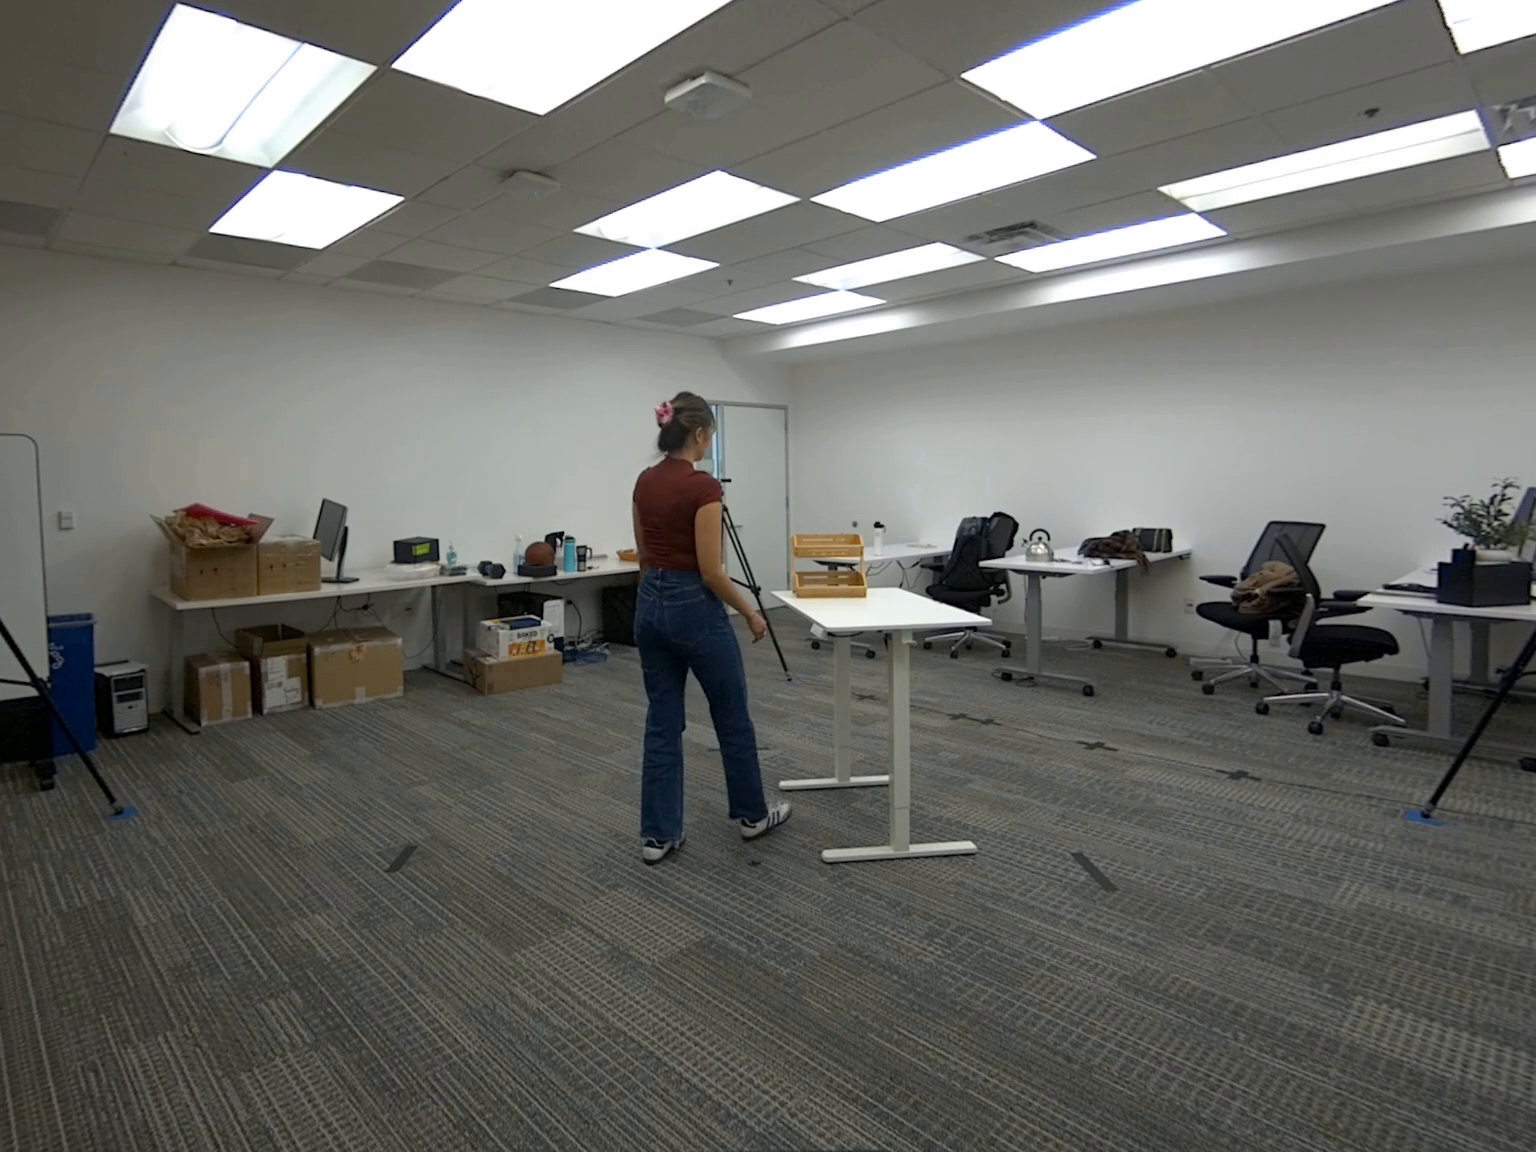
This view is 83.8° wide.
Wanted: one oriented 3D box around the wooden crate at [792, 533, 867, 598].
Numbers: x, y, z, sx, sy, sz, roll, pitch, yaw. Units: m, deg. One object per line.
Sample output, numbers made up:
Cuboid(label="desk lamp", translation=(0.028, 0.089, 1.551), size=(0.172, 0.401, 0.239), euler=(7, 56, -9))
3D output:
Cuboid(label="wooden crate", translation=(0.270, -0.052, 3.799), size=(0.324, 0.272, 0.303), euler=(0, 5, -1))
